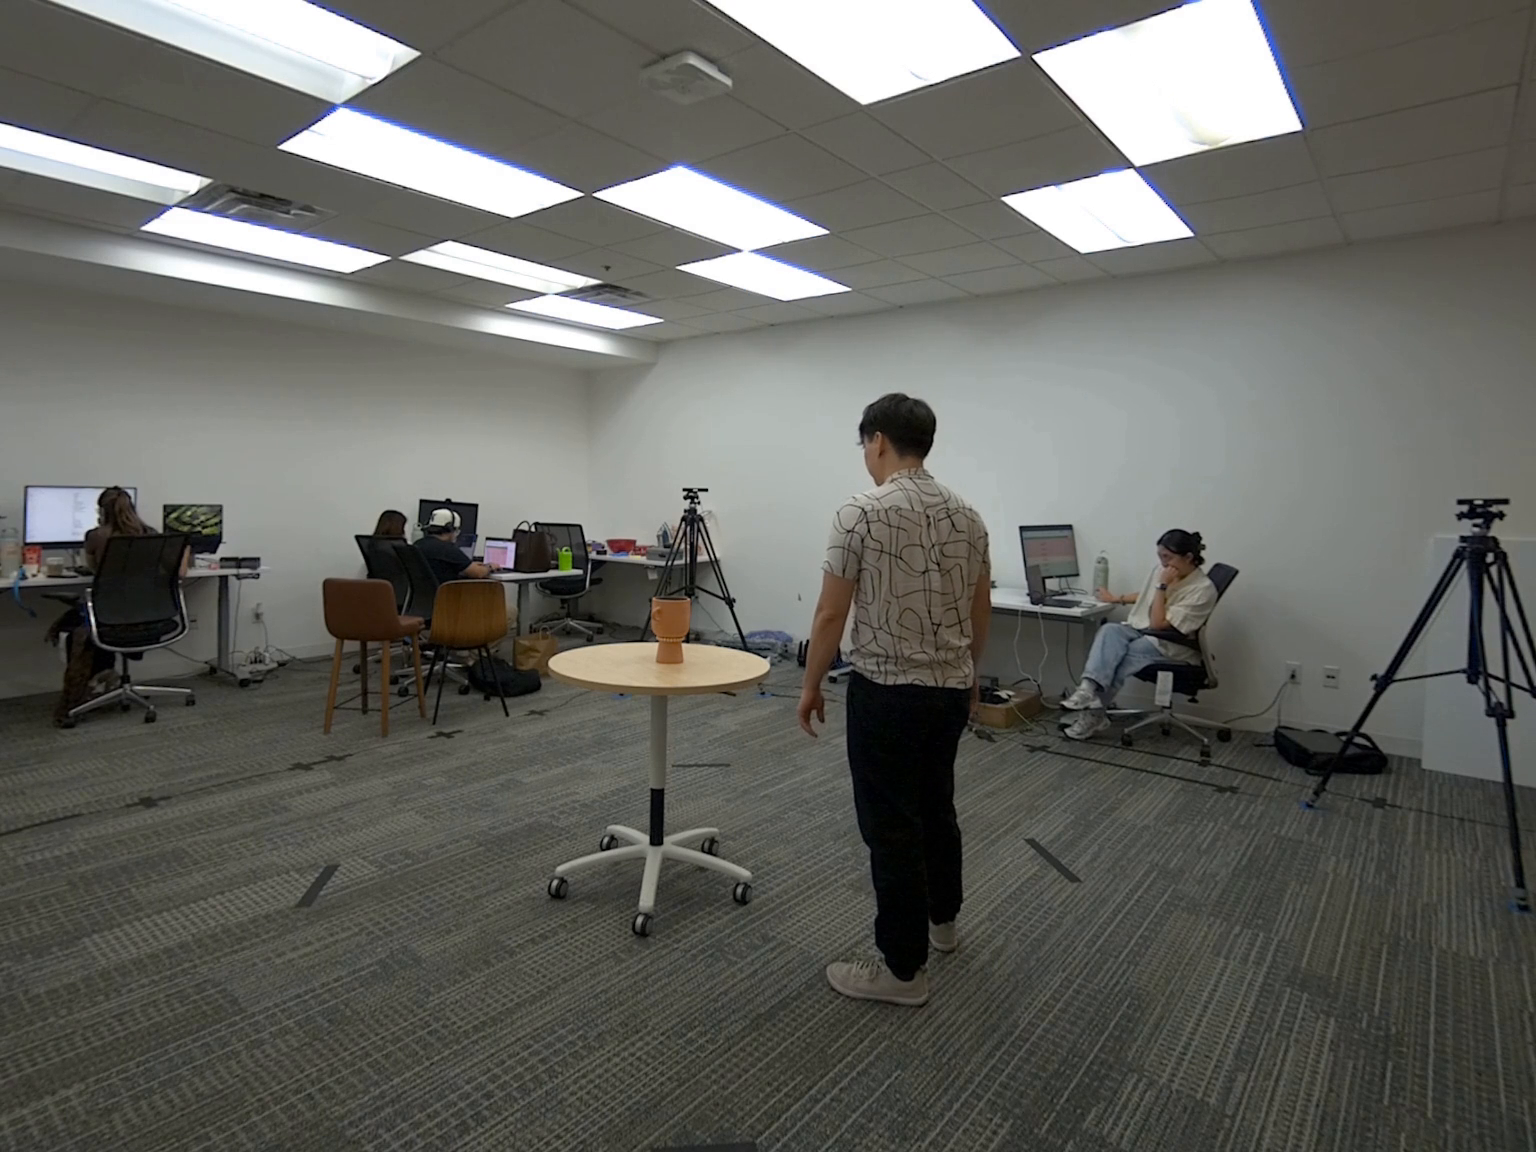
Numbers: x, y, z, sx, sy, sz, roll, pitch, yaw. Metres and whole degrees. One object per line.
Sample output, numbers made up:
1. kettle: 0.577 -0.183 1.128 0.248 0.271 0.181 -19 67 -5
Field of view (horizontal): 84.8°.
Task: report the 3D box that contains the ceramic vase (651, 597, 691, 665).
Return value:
1. ceramic vase: -0.351 0.188 2.971 0.156 0.219 0.137 -1 5 -15
